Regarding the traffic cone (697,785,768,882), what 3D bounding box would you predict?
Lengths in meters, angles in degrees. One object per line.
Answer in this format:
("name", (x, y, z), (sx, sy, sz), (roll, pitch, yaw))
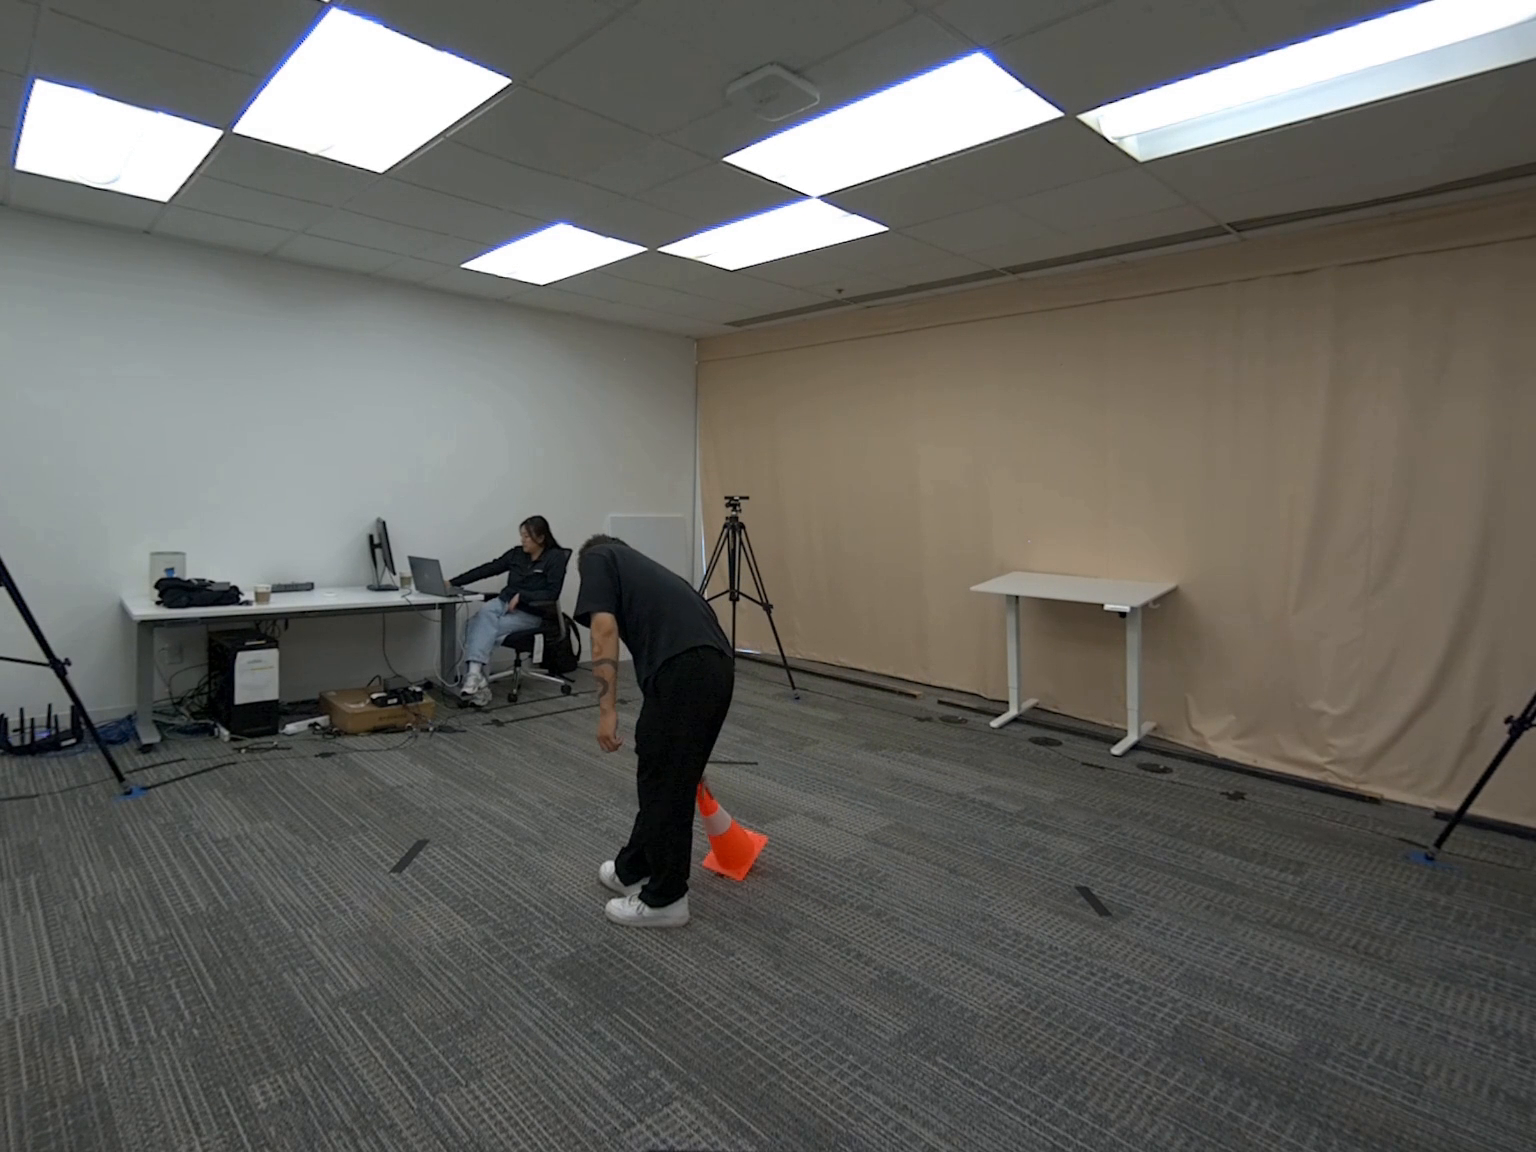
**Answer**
("traffic cone", (-0.193, 0.898, 3.089), (0.208, 0.374, 0.205), (2, 37, 36))
